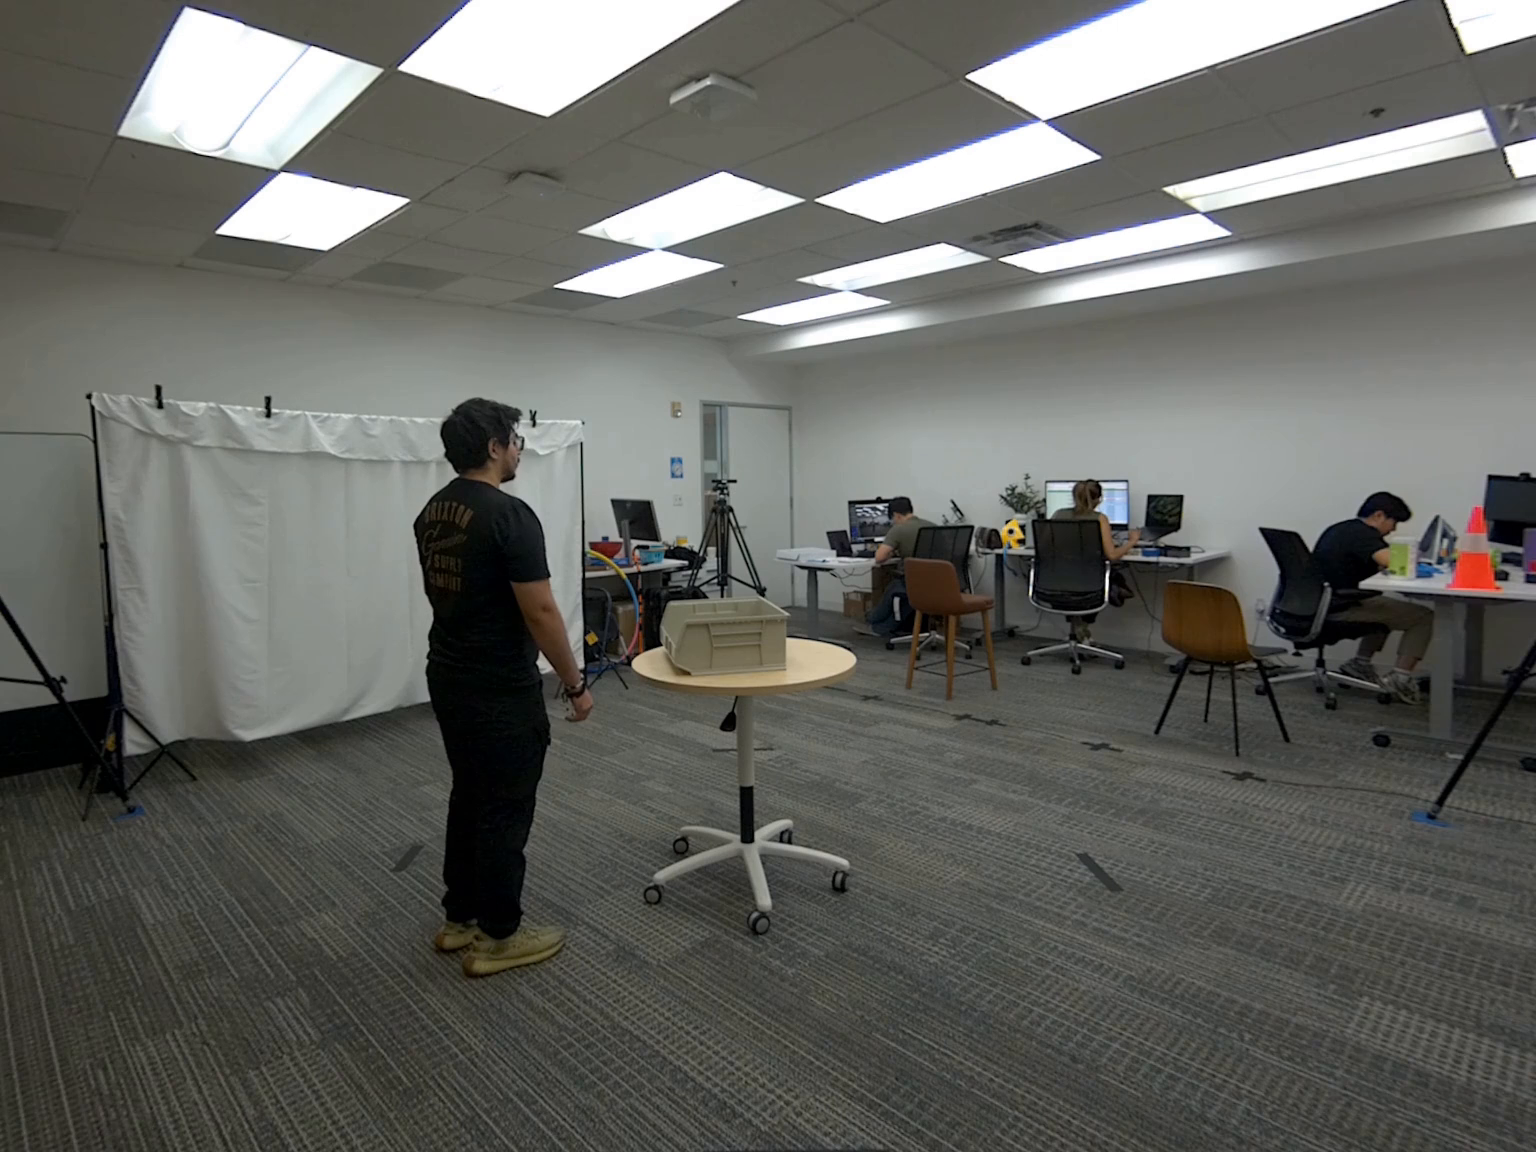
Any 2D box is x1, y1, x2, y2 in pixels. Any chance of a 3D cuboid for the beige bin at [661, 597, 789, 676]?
[{"bbox_3d":[-0.155,0.197,2.917,0.373,0.188,0.429,-2,6,-13],"label":"beige bin"}]
